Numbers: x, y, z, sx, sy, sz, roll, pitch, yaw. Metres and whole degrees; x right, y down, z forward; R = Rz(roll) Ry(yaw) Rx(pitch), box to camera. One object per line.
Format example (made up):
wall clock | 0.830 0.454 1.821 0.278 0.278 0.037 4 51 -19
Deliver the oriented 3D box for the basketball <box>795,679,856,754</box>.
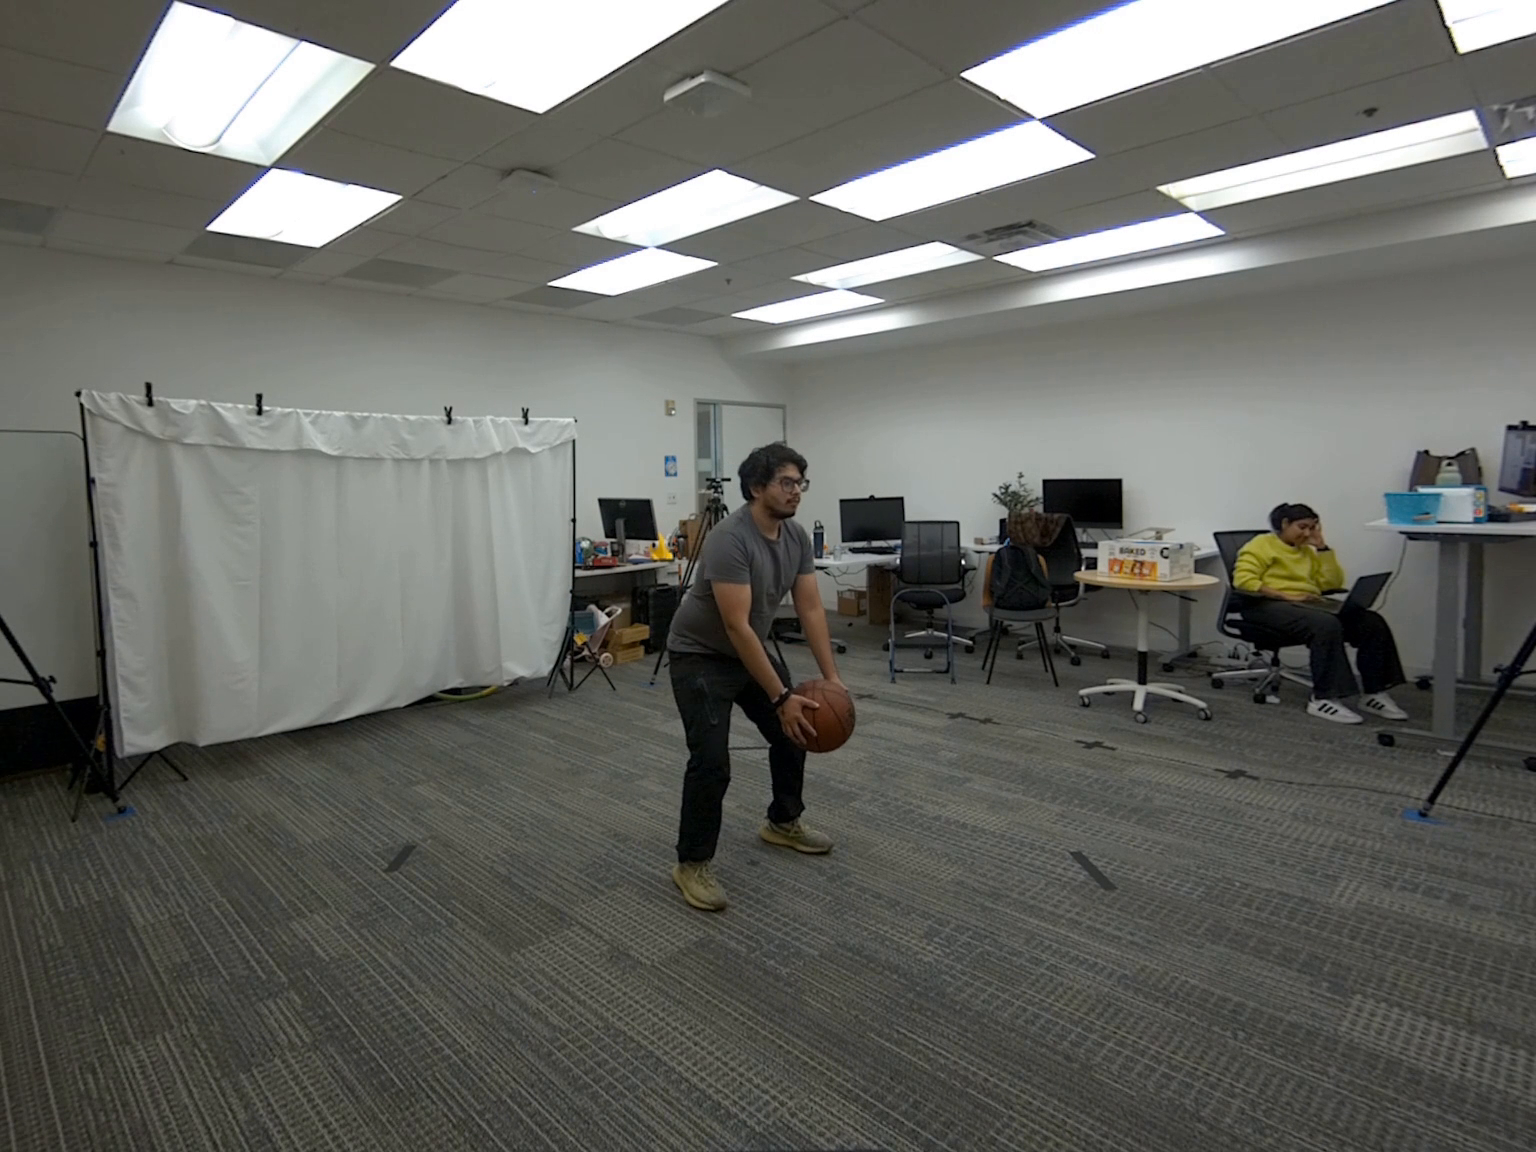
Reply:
basketball | 0.167 0.457 2.802 0.236 0.235 0.237 -1 5 -2
